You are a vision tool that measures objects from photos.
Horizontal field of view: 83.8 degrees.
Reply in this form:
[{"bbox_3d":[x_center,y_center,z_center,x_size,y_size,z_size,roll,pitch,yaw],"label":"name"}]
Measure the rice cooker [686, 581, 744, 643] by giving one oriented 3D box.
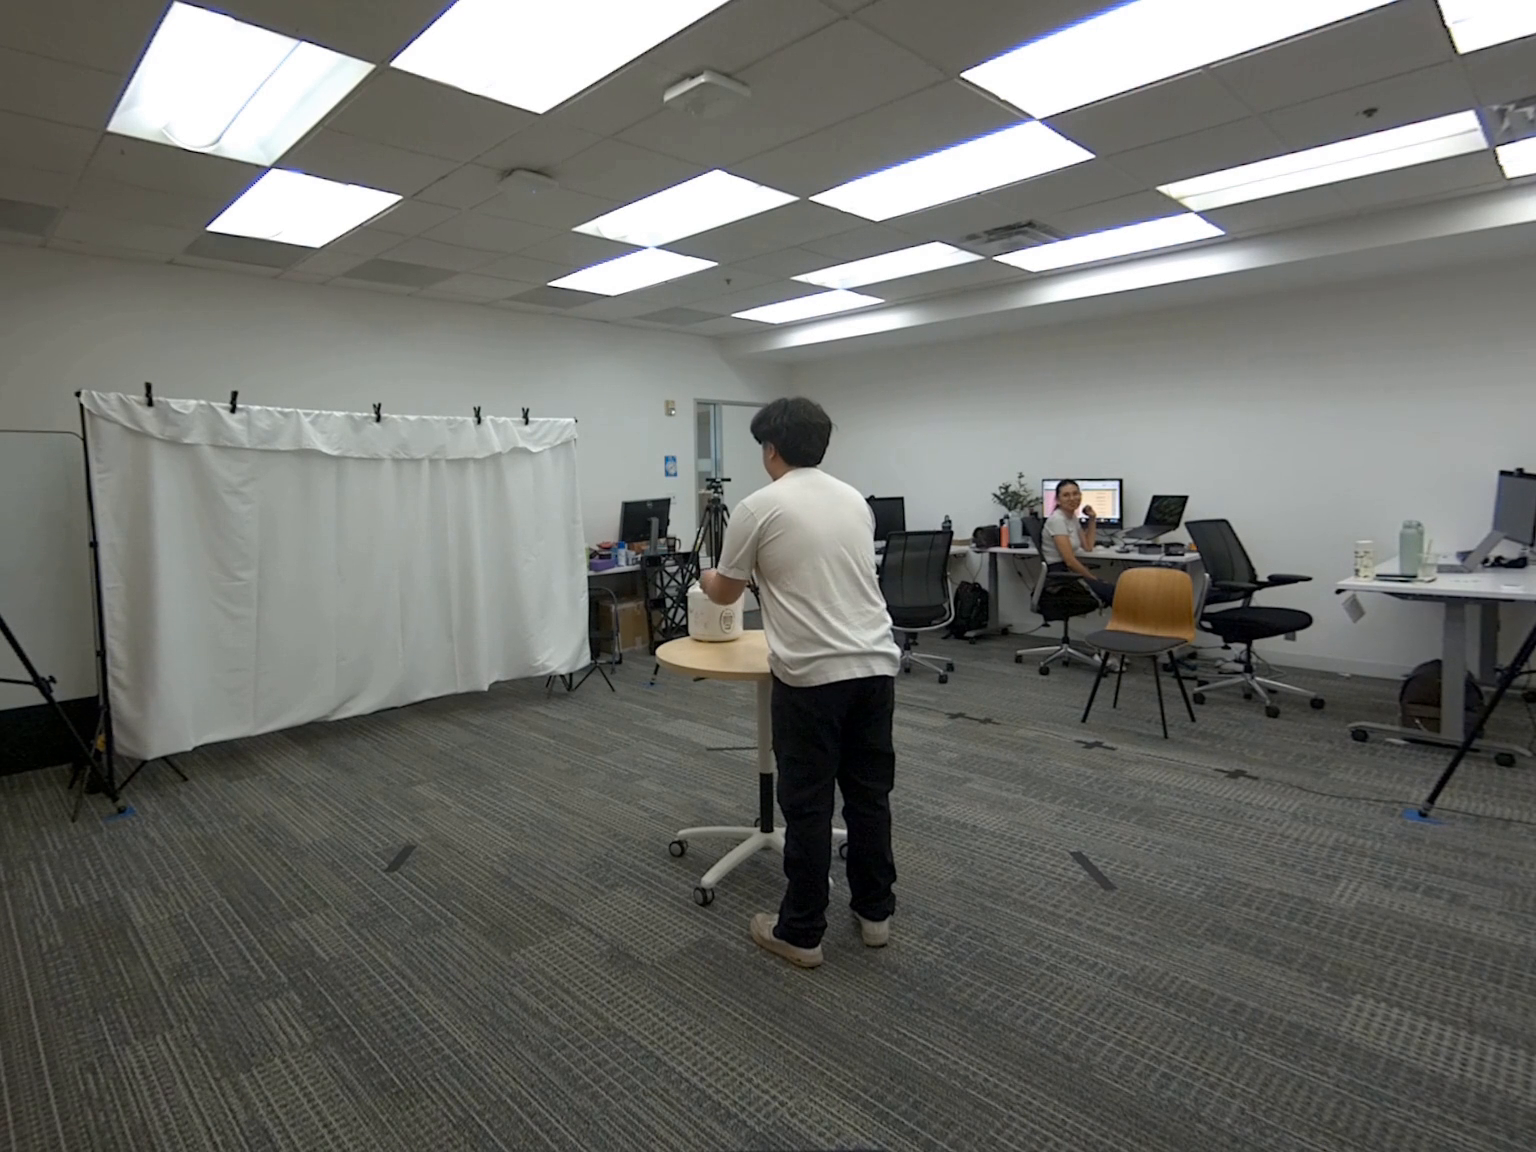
[{"bbox_3d":[-0.191,0.119,3.216,0.216,0.232,0.223,-4,4,-26],"label":"rice cooker"}]
